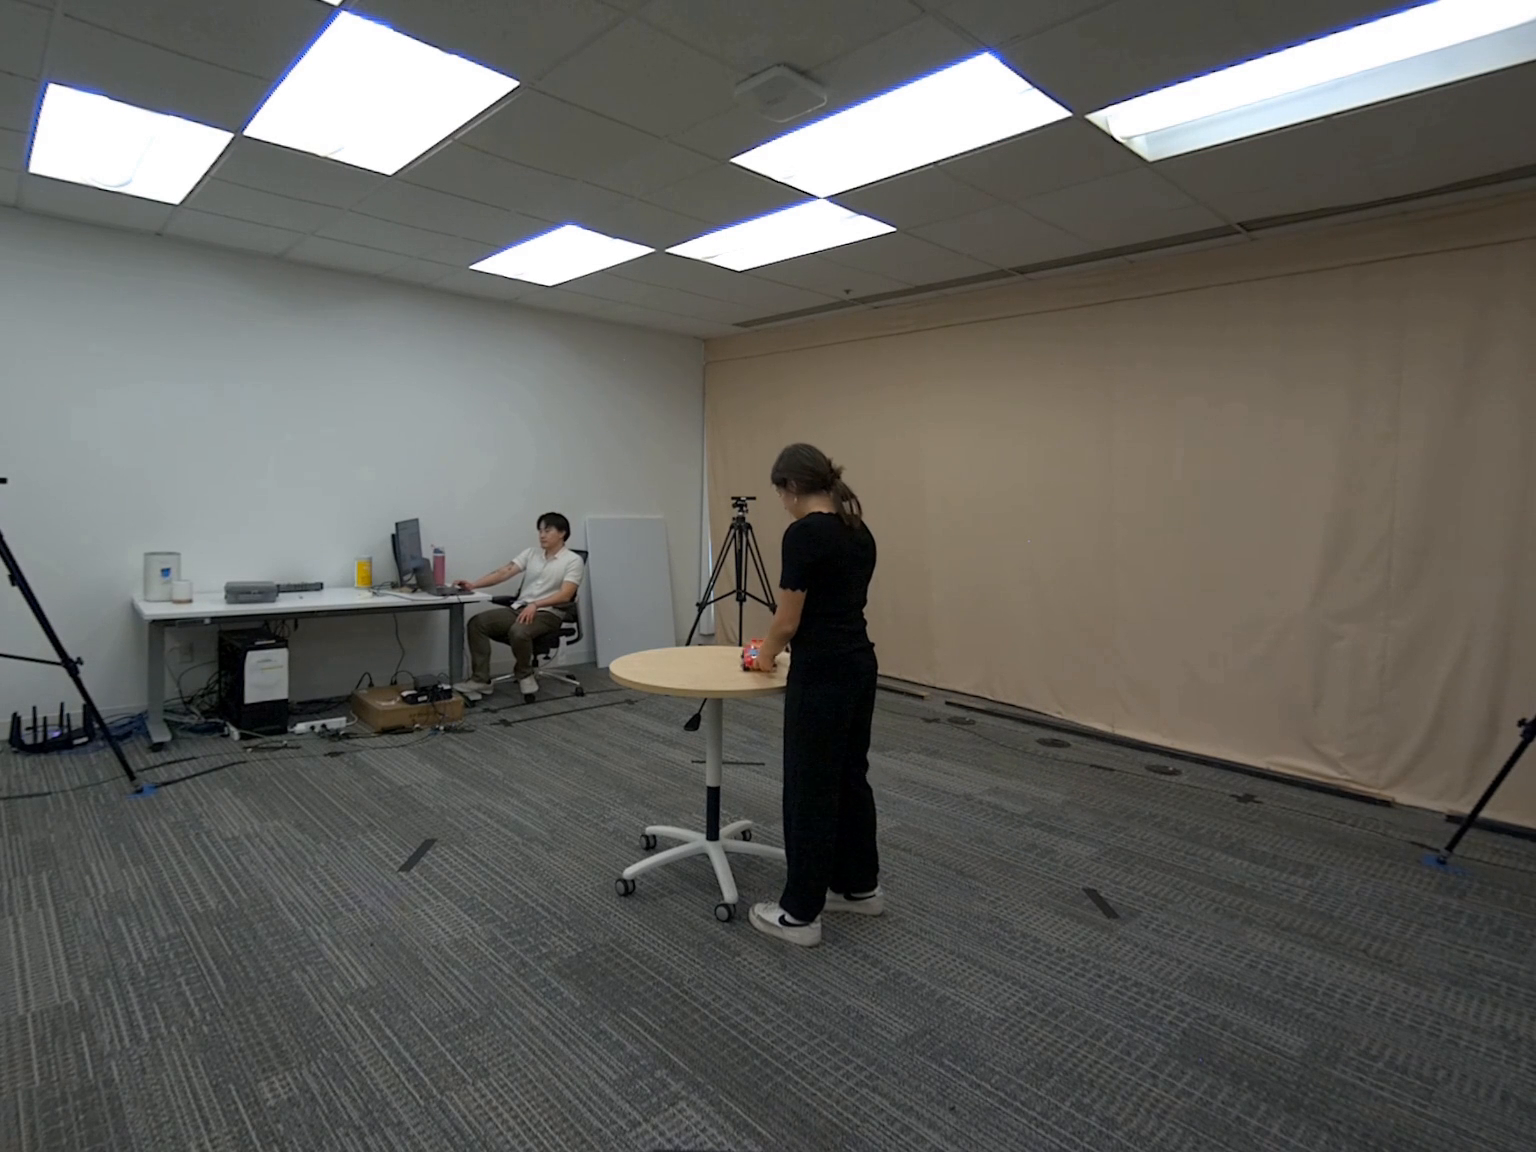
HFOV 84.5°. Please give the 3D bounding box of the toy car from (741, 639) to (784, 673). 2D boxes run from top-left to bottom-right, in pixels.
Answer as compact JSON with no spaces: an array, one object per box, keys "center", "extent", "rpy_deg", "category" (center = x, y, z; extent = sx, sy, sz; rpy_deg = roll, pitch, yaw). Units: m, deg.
[{"center":[-0.046,0.293,3.059],"extent":[0.130,0.082,0.258],"rpy_deg":[1,16,-3],"category":"toy car"}]
